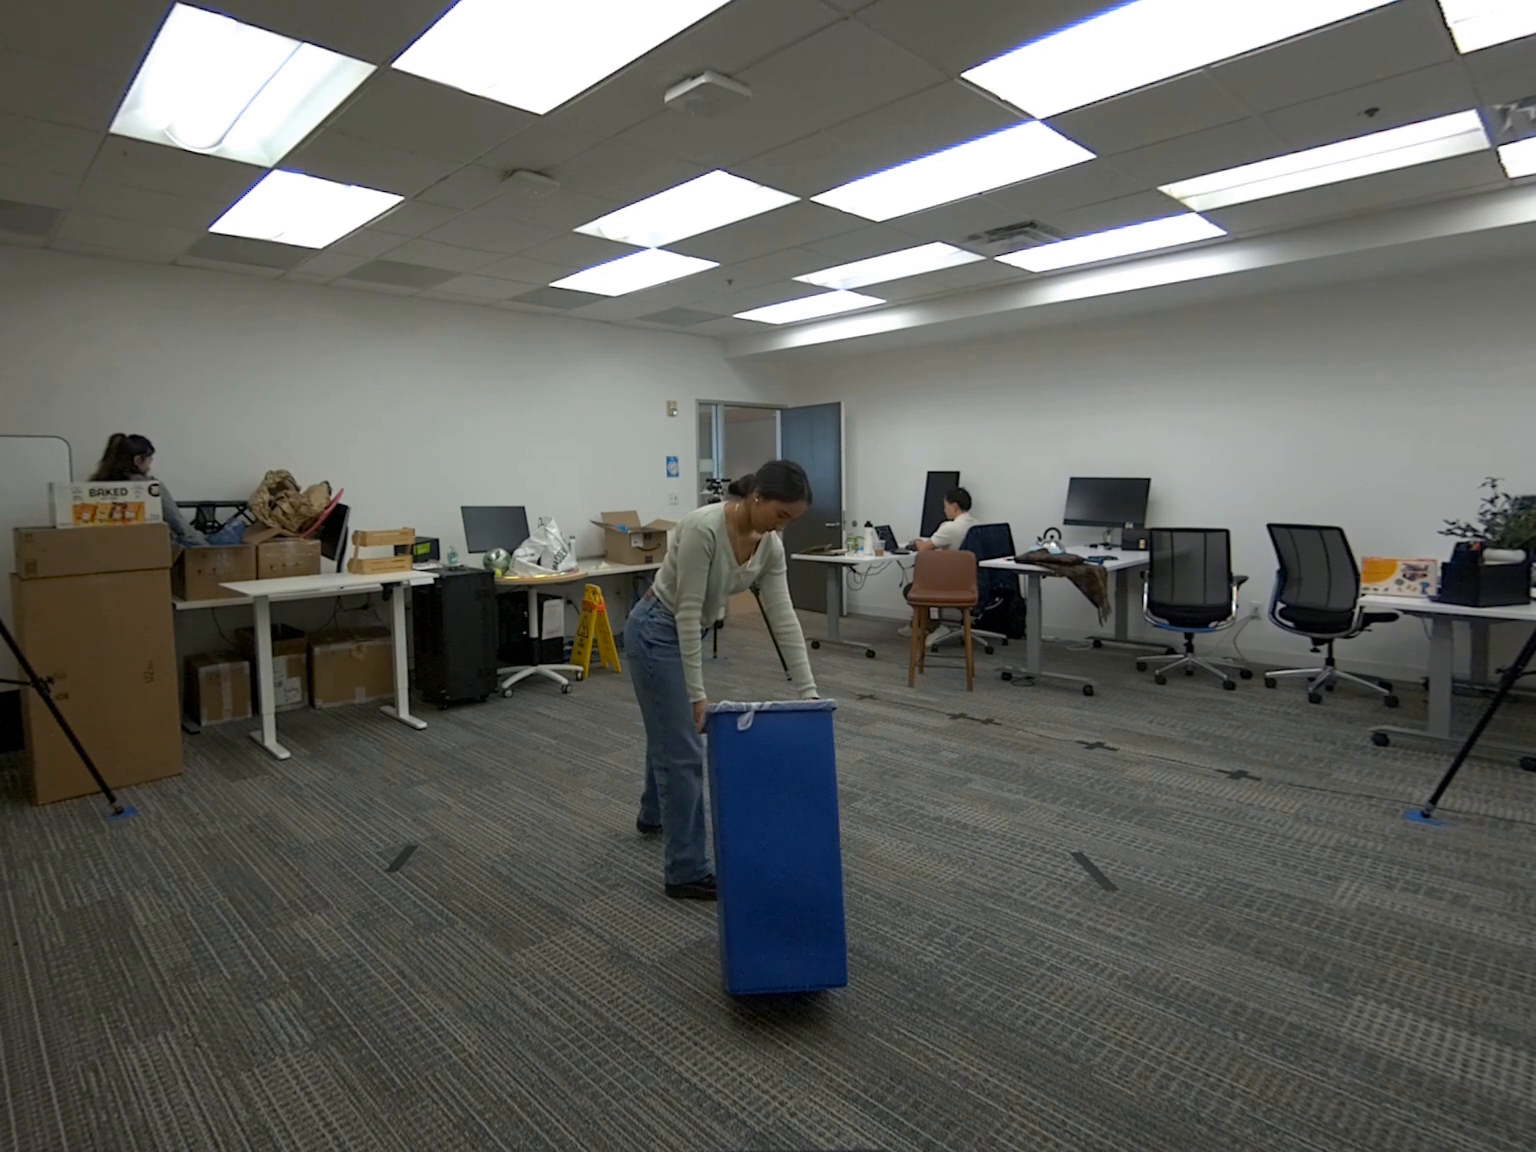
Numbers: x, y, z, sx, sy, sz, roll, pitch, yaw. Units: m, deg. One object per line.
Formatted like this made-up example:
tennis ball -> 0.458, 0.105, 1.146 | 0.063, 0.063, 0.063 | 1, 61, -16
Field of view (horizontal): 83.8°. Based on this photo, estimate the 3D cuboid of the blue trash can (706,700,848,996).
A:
blue trash can -> 0.016, 0.743, 2.397 | 0.376, 0.726, 0.369 | -1, -19, -6
